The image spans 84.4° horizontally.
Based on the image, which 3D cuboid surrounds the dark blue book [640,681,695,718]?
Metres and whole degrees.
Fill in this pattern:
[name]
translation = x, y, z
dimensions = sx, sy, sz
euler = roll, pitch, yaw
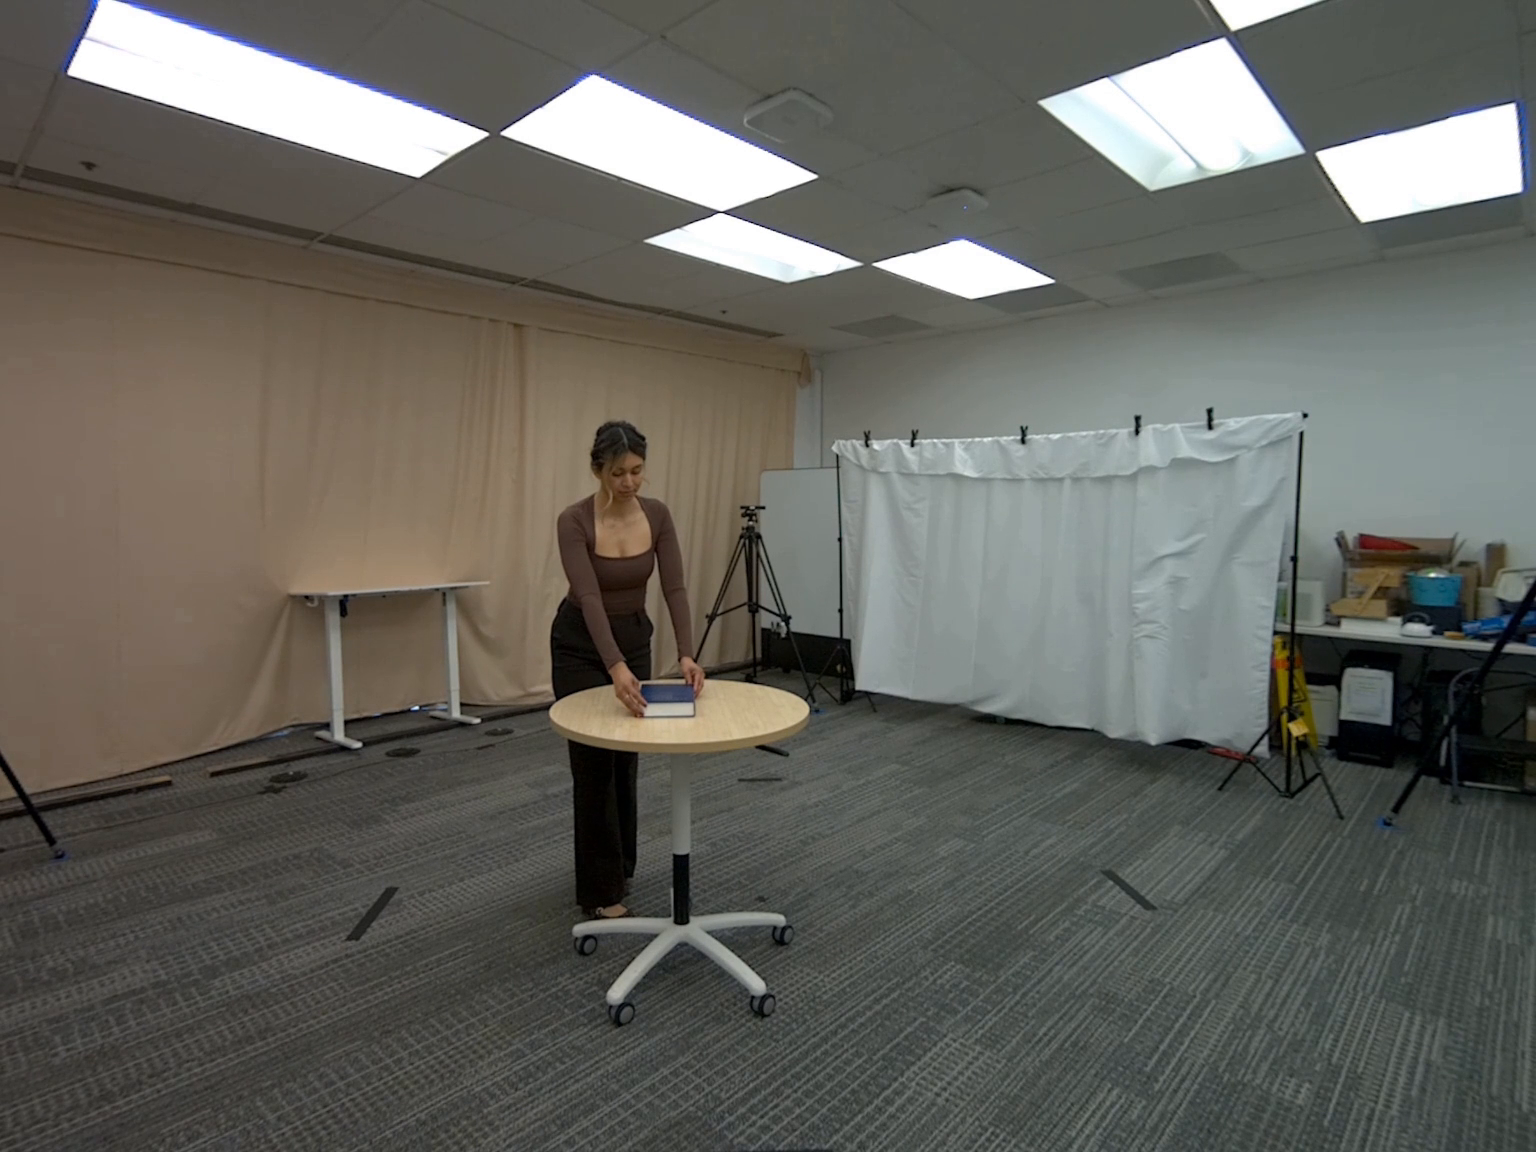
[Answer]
[dark blue book]
translation = -0.285, 0.375, 2.484
dimensions = 0.163, 0.045, 0.246
euler = 0, 5, -3
